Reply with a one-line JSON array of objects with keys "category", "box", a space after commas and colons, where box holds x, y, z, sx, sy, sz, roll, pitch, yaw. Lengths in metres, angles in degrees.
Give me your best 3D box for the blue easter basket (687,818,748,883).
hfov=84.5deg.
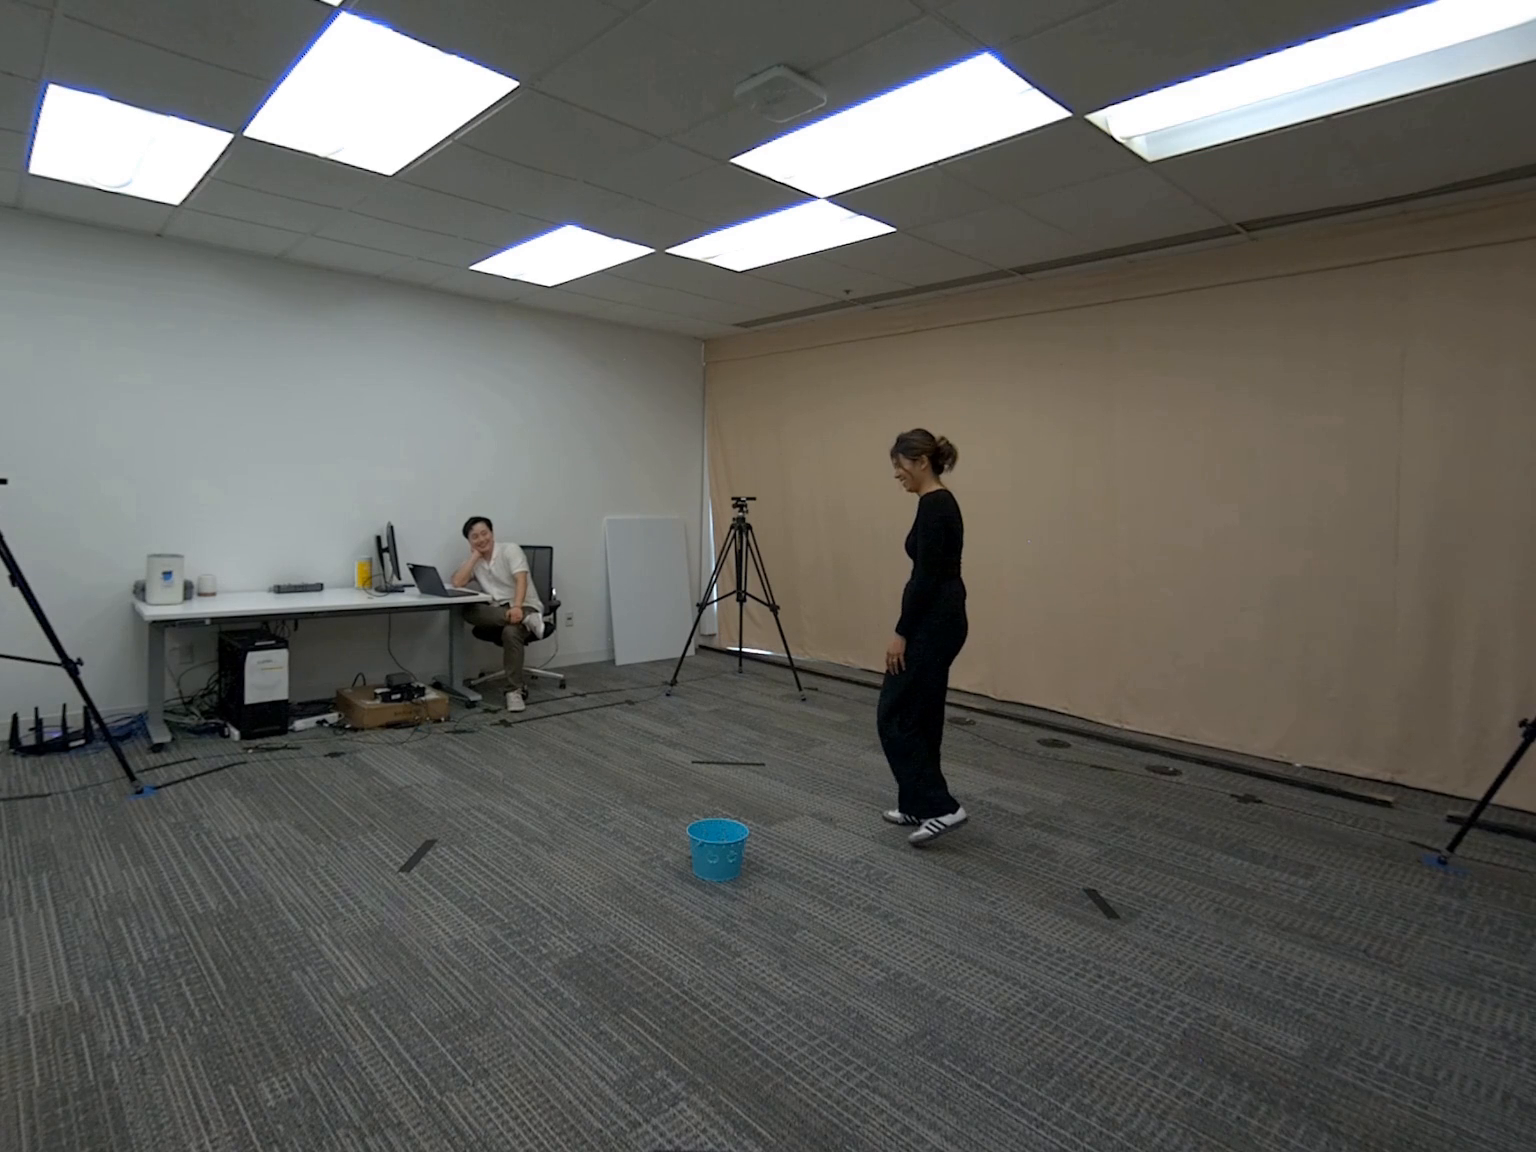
[{"category": "blue easter basket", "box": [-0.200, 1.022, 3.153, 0.243, 0.155, 0.244, 1, 5, -1]}]
